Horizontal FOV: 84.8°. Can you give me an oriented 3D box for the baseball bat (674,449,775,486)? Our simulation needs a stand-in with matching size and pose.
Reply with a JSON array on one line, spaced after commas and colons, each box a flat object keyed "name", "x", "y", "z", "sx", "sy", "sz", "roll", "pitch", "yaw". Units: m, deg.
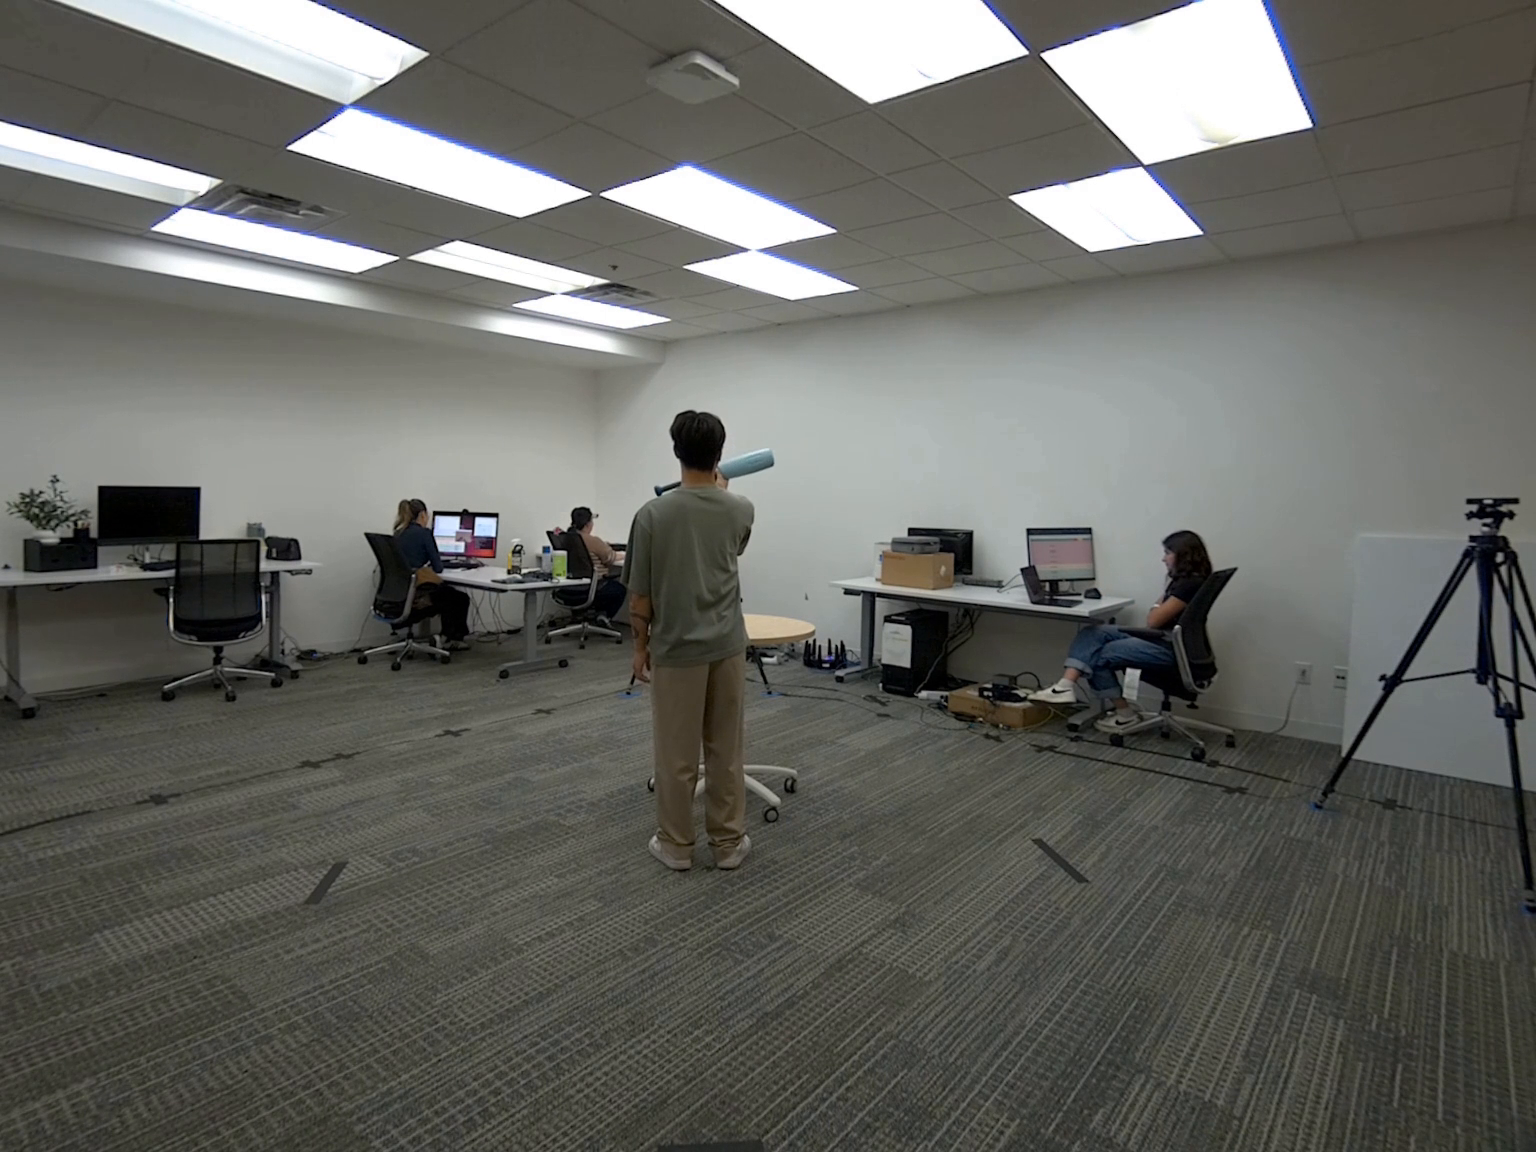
[{"name": "baseball bat", "x": -0.243, "y": -0.449, "z": 3.710, "sx": 0.539, "sy": 0.088, "sz": 0.090, "roll": -18, "pitch": 8, "yaw": -9}]
